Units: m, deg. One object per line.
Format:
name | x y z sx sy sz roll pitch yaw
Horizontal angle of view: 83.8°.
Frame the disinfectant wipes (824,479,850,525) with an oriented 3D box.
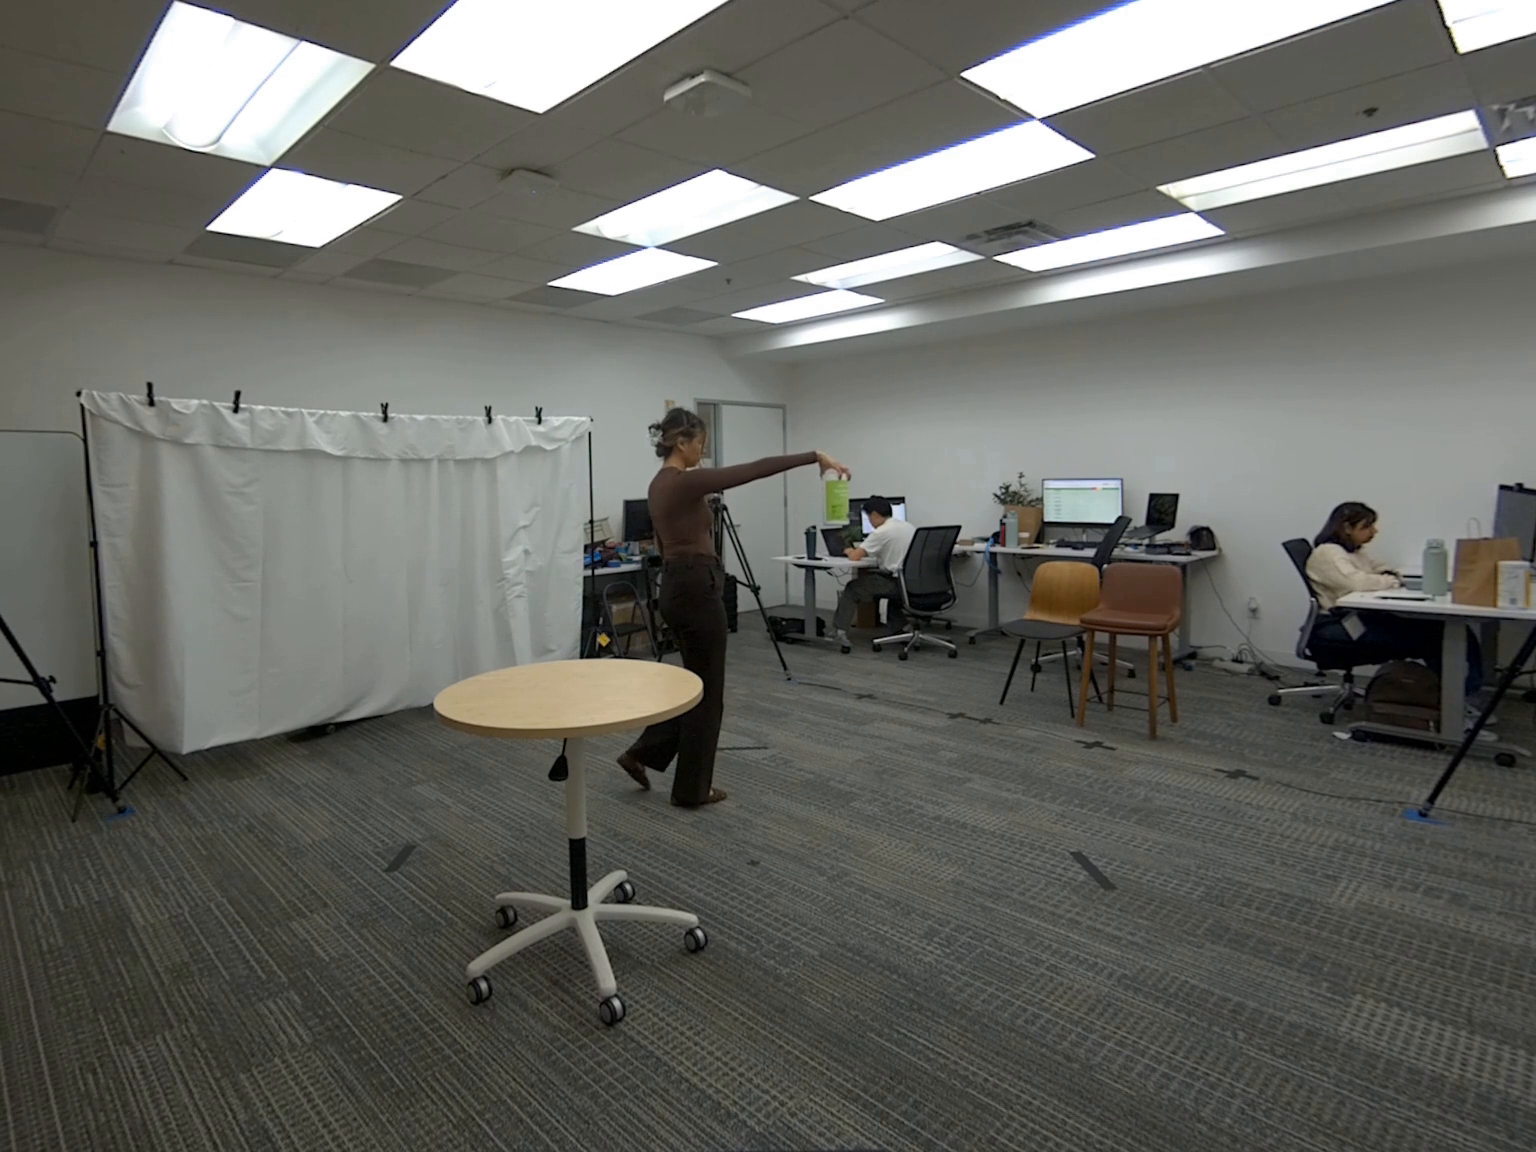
disinfectant wipes | 0.278 -0.319 3.589 0.118 0.216 0.118 -1 5 -2
